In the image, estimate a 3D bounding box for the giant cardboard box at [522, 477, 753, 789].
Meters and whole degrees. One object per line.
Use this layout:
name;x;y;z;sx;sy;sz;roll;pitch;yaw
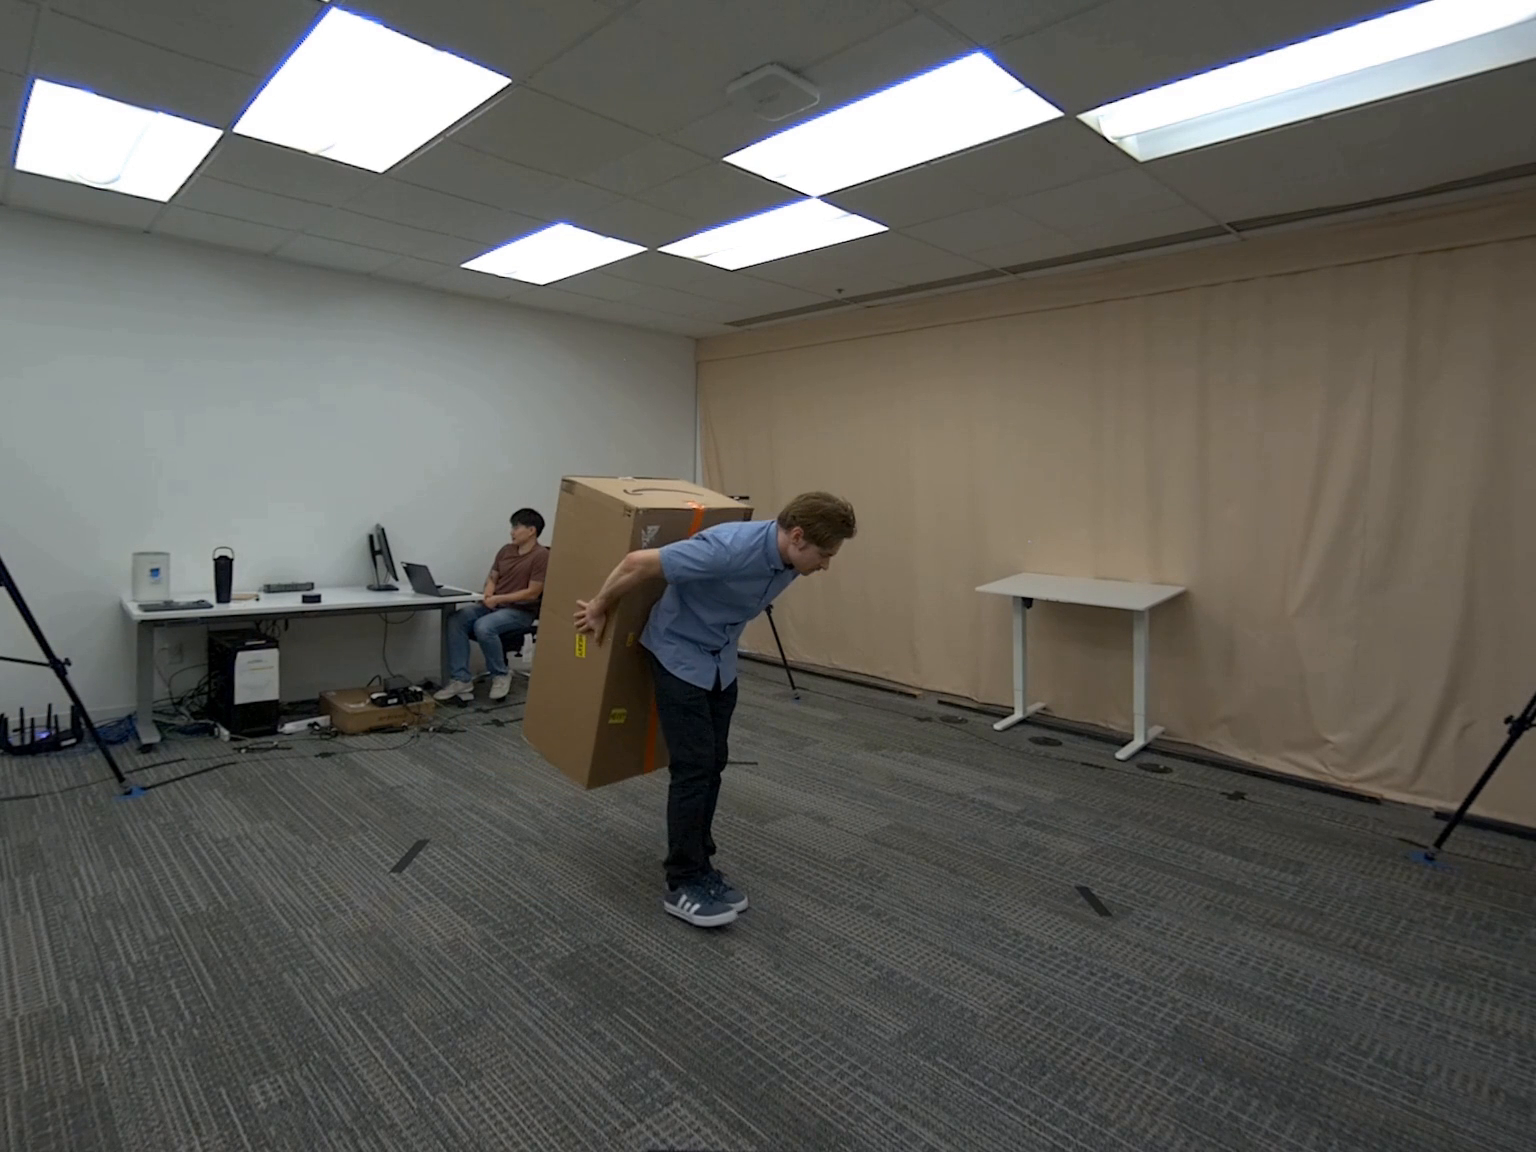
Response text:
giant cardboard box;-0.494;0.187;3.132;0.460;1.019;0.571;22;16;38
